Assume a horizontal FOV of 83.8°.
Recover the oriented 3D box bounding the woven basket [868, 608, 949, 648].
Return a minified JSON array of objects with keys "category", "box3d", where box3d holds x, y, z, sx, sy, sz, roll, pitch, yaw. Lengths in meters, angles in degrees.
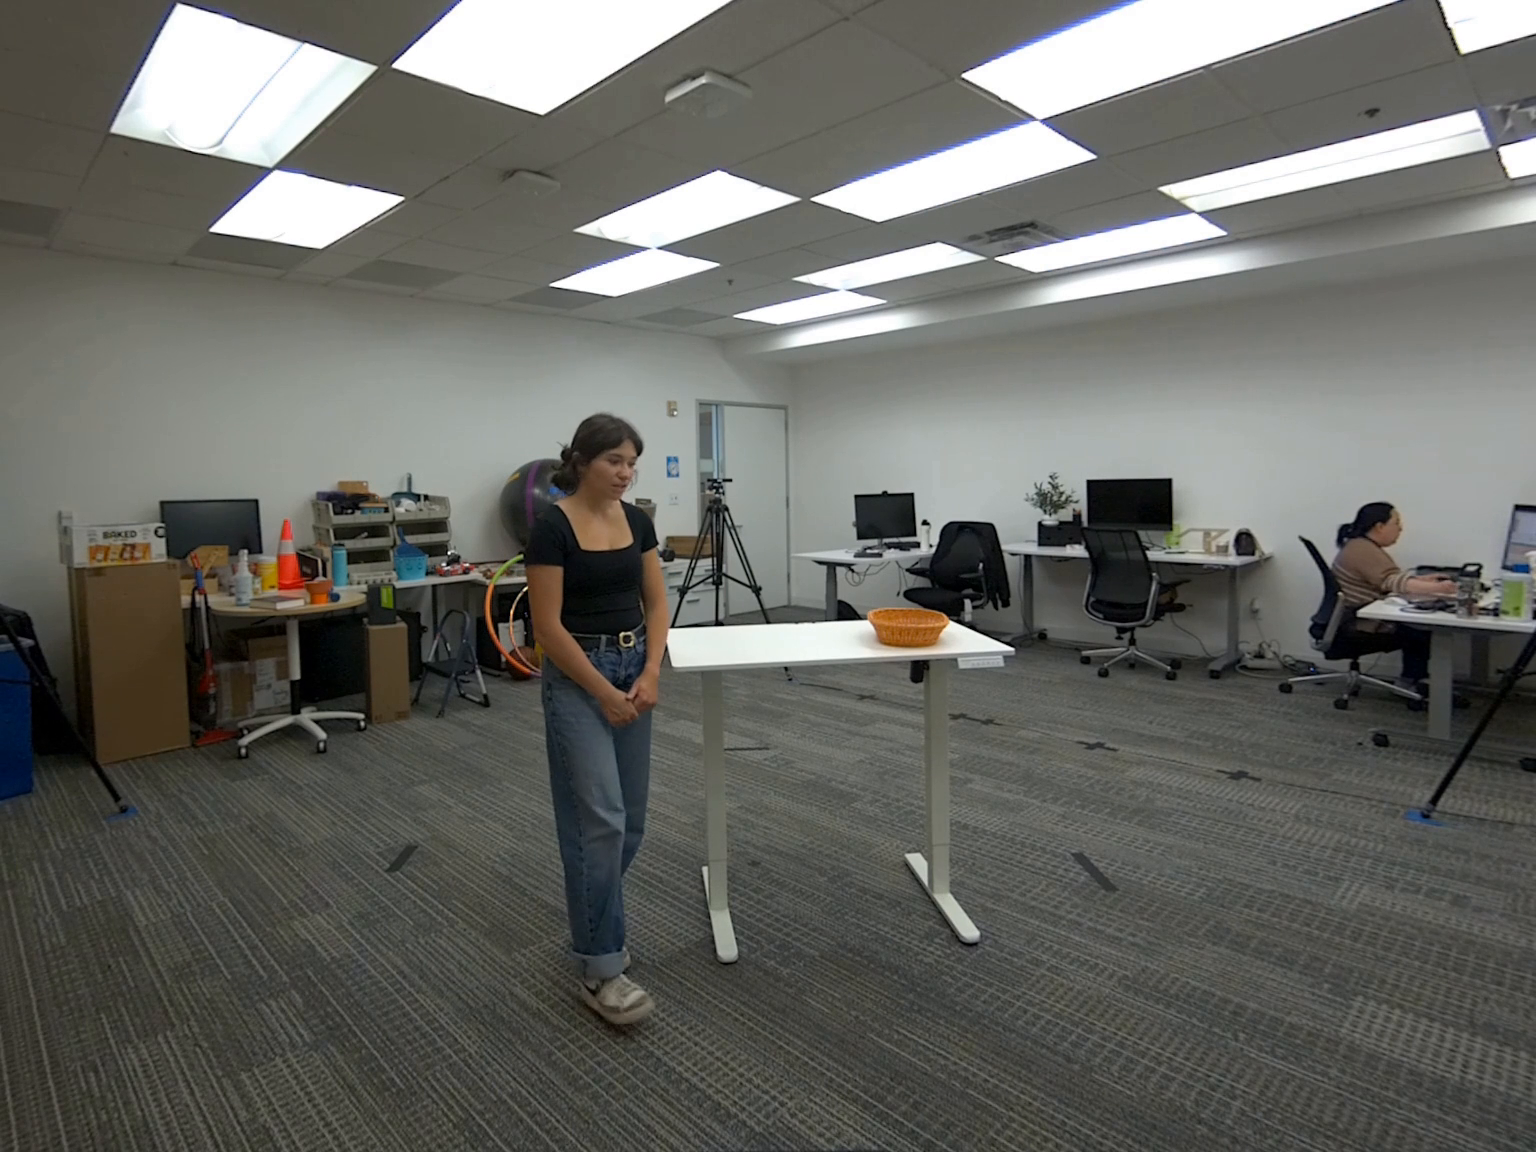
[{"category":"woven basket","box3d":[0.452,0.172,2.683,0.255,0.073,0.348,1,7,10]}]
